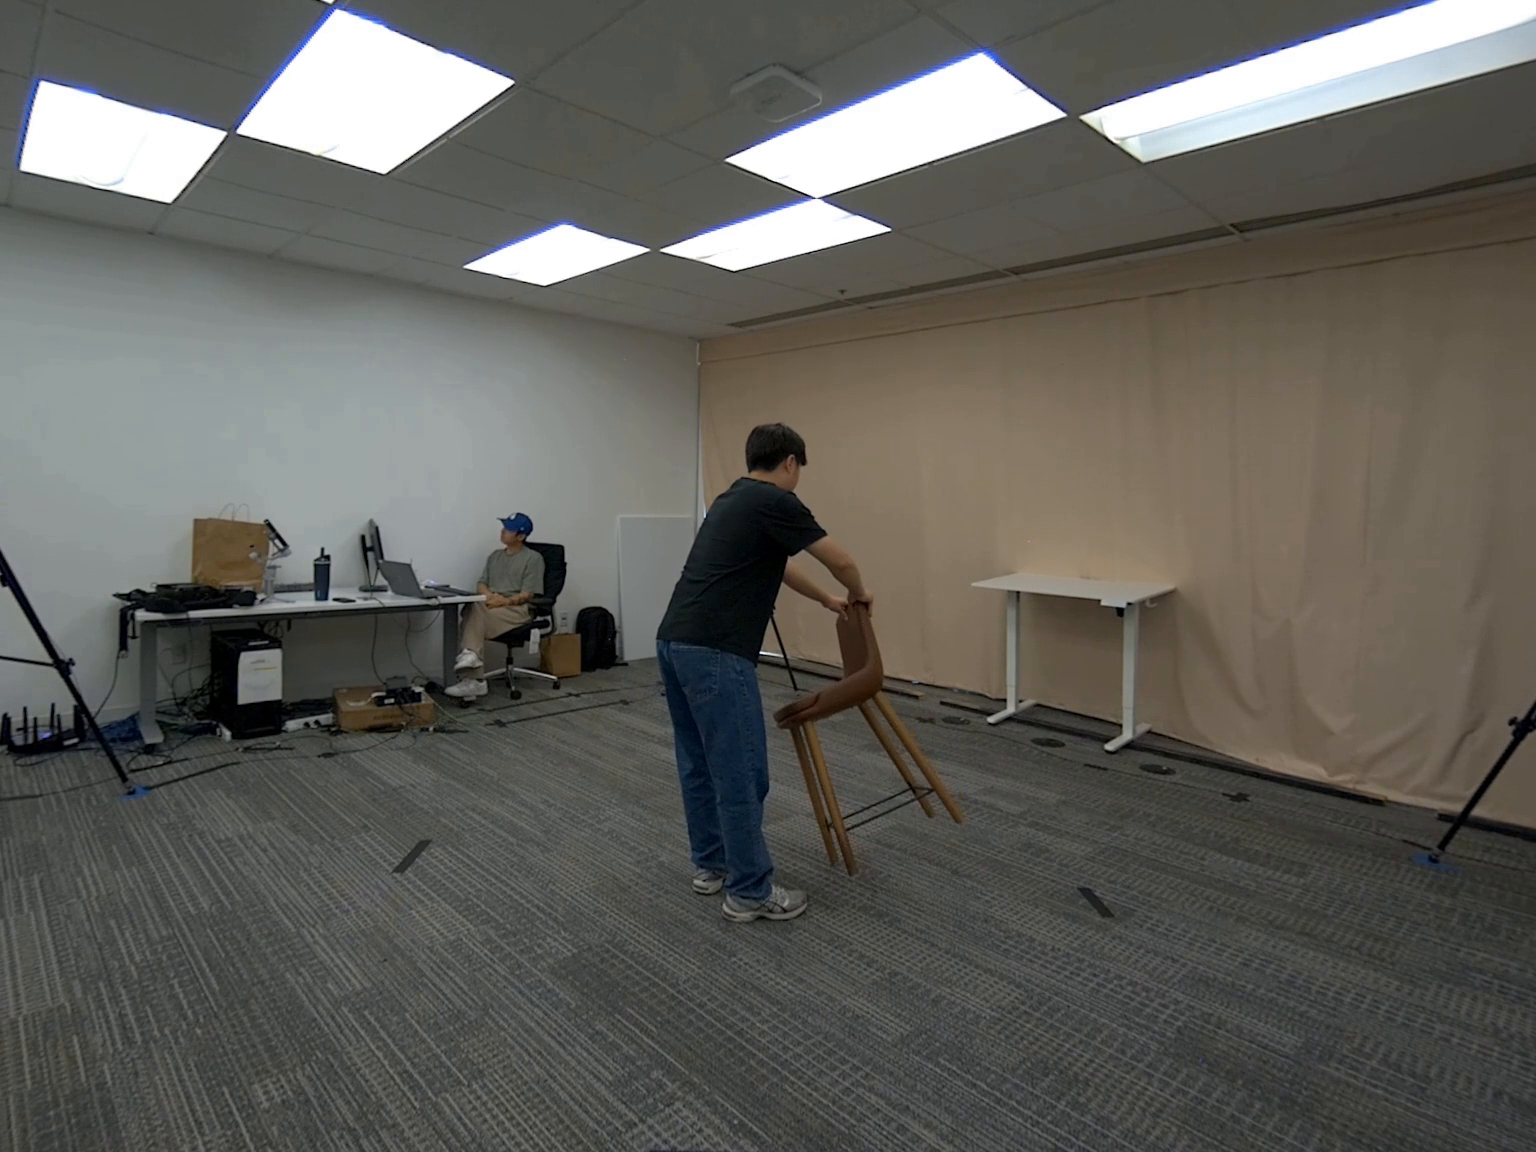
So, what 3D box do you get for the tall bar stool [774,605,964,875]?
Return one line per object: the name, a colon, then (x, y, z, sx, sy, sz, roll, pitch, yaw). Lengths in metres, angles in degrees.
tall bar stool: (0.295, 0.585, 3.164, 0.465, 0.900, 0.453, -20, -12, -9)
